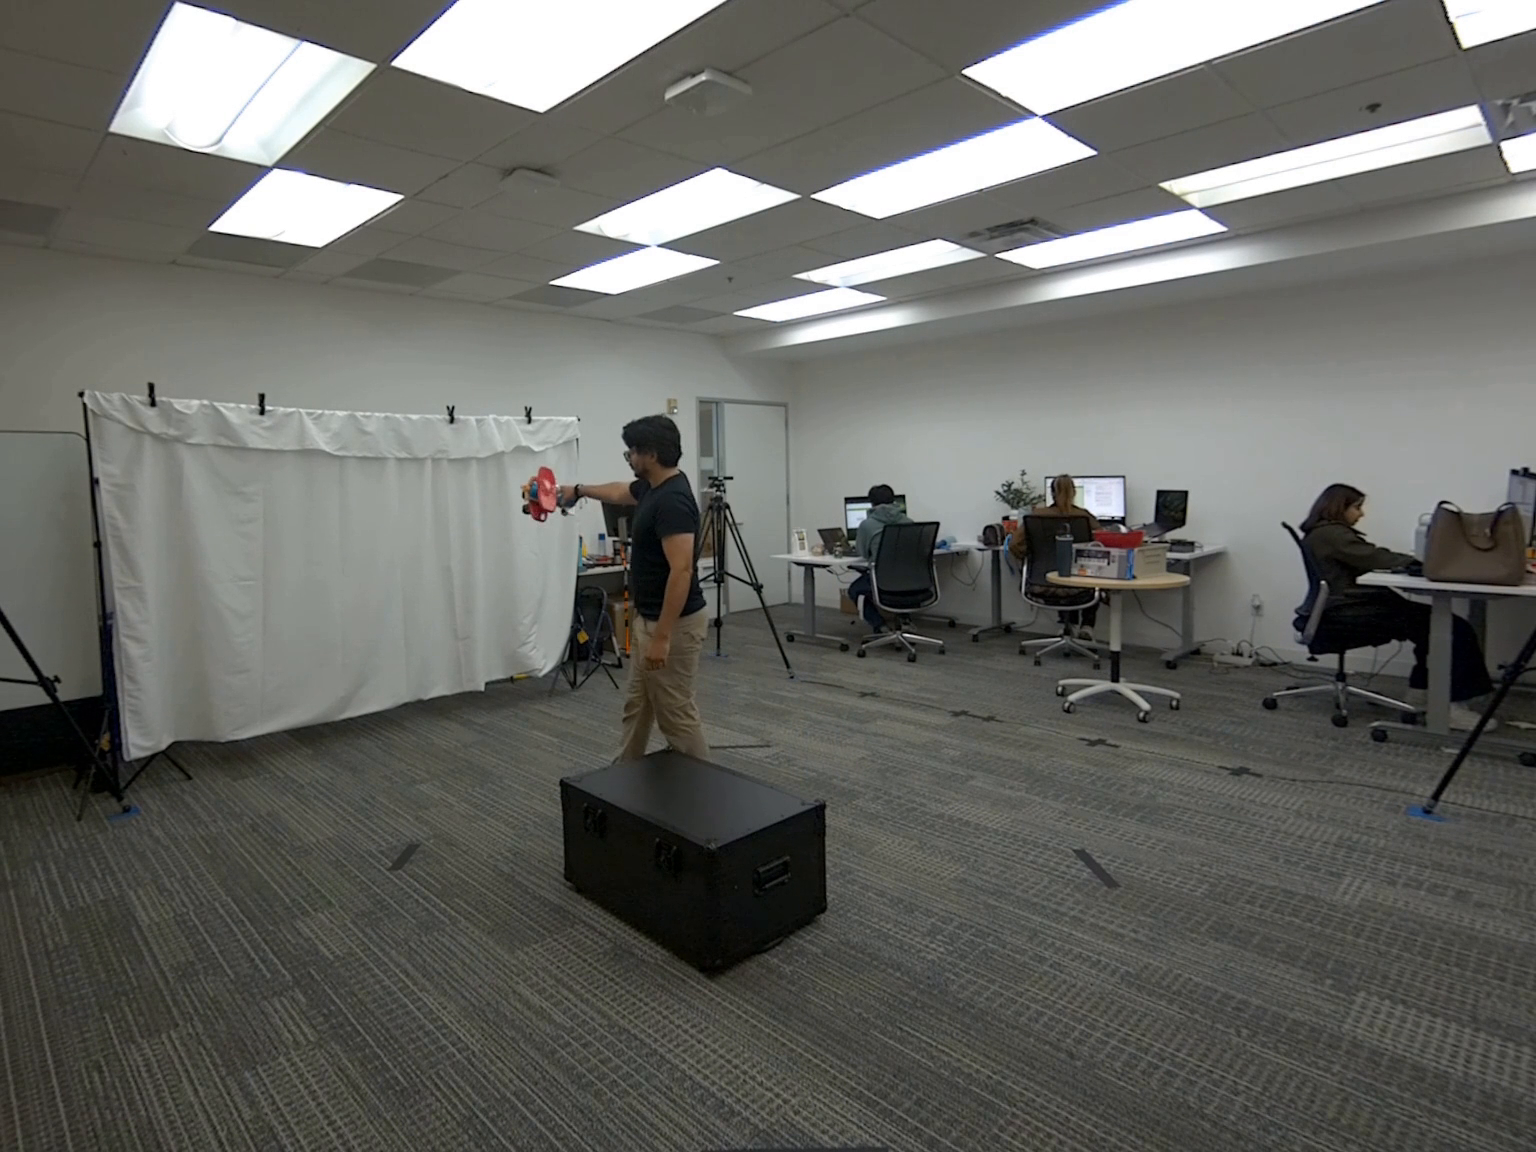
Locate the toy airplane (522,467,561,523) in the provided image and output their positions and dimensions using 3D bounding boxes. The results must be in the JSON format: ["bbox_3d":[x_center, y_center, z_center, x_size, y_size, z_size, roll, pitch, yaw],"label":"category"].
[{"bbox_3d":[-1.010,-0.371,3.916,0.255,0.256,0.156,-22,-21,-42],"label":"toy airplane"}]
